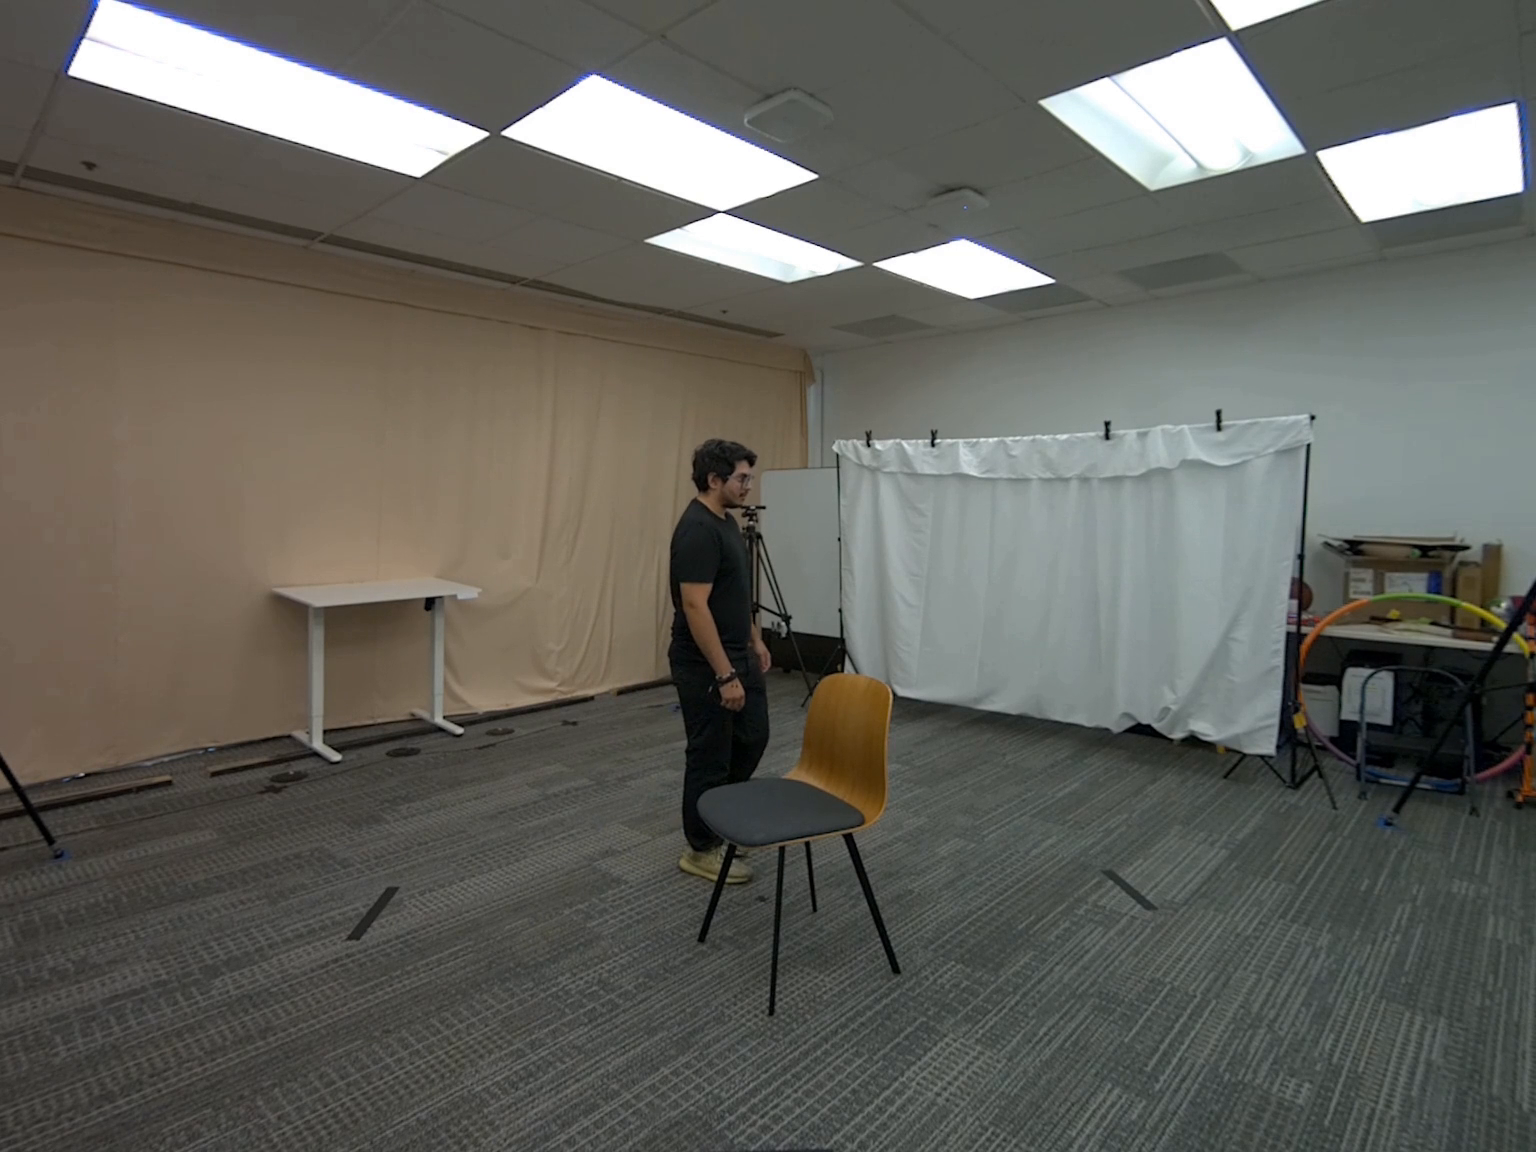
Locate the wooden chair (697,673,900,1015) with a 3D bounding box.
[{"bbox_3d":[0.085,0.753,2.562,0.508,0.877,0.492,3,2,-30],"label":"wooden chair"}]
